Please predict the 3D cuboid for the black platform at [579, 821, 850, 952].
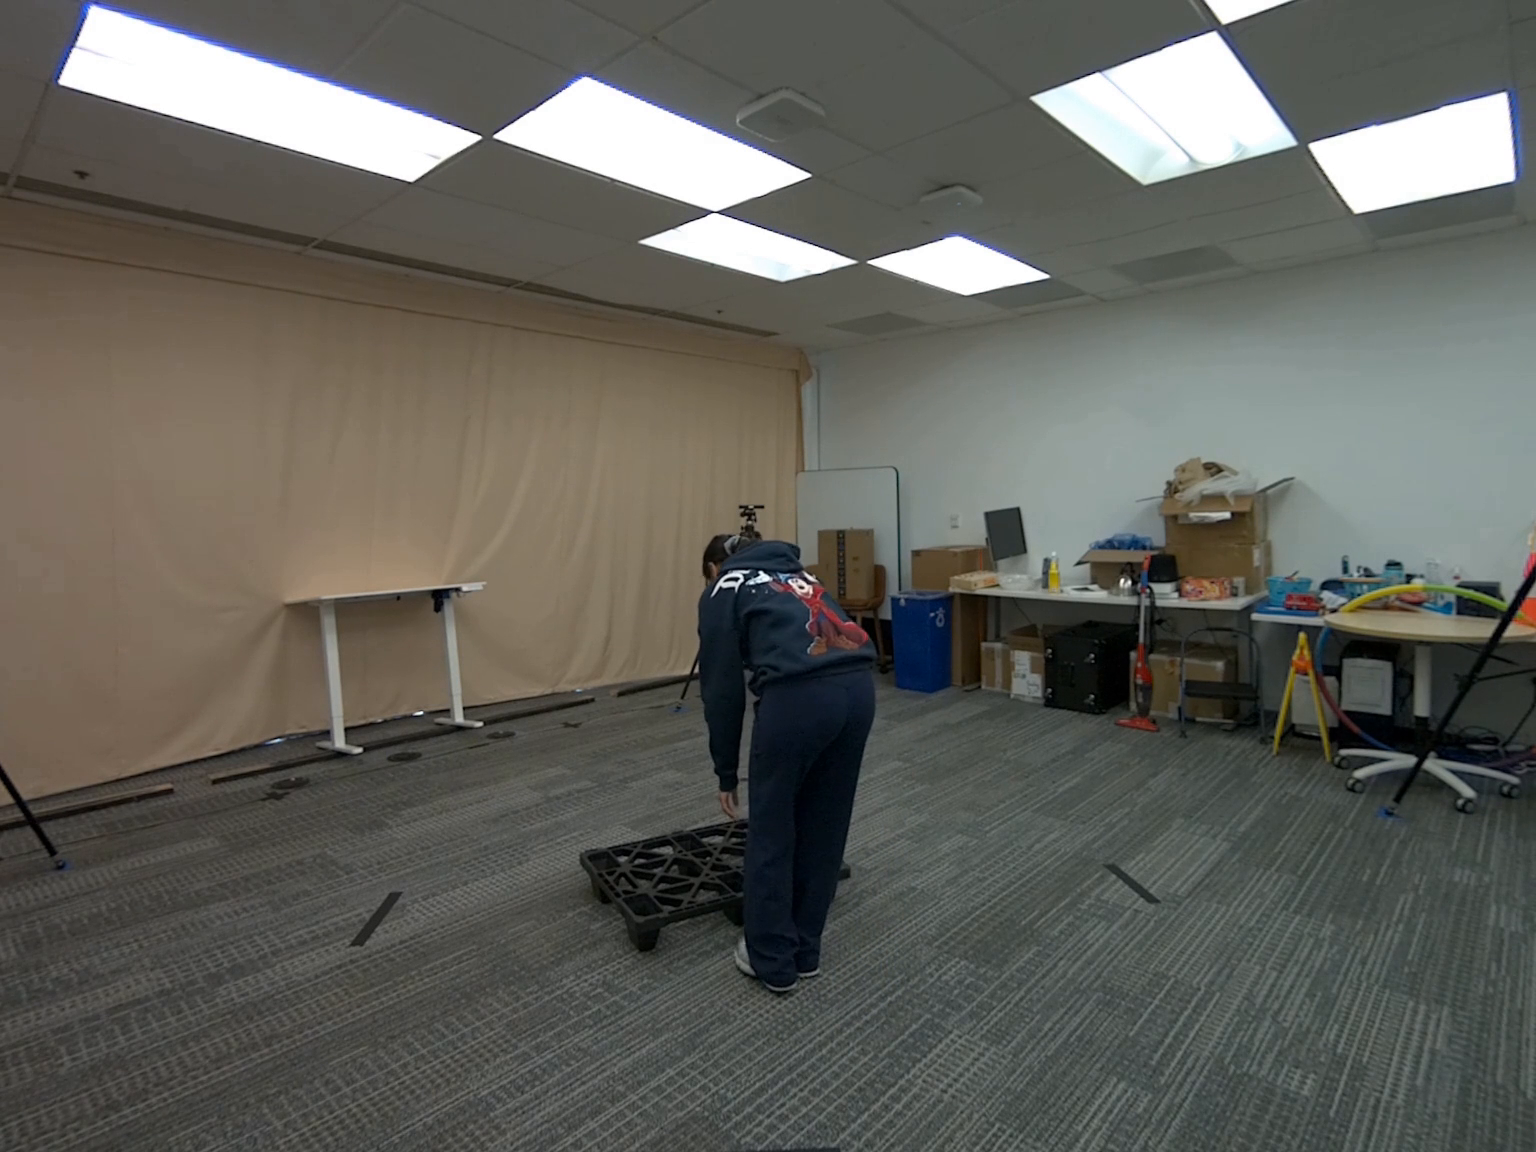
[{"bbox_3d":[-0.202,1.078,3.002,0.785,0.143,0.622,-3,5,-27],"label":"black platform"}]
